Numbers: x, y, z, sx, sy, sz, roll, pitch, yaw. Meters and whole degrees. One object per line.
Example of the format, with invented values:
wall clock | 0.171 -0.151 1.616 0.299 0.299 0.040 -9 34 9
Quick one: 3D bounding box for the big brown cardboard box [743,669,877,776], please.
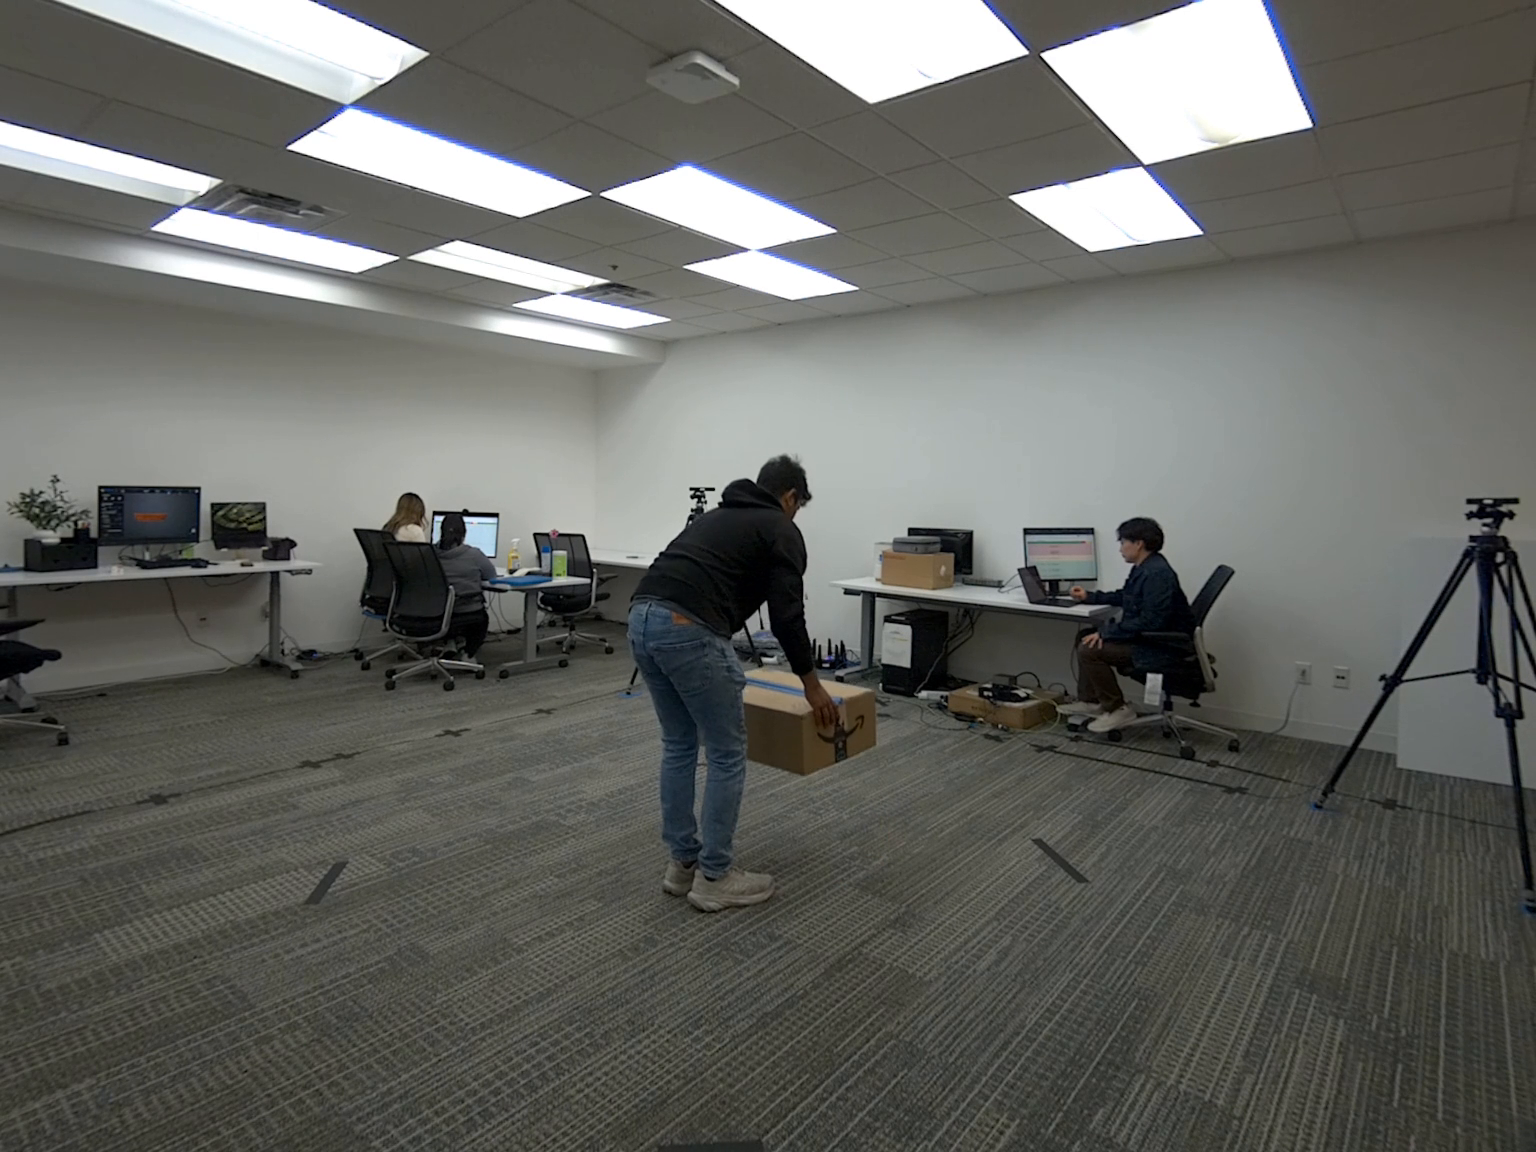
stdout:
big brown cardboard box | 0.040 0.535 3.210 0.609 0.232 0.406 7 11 44
